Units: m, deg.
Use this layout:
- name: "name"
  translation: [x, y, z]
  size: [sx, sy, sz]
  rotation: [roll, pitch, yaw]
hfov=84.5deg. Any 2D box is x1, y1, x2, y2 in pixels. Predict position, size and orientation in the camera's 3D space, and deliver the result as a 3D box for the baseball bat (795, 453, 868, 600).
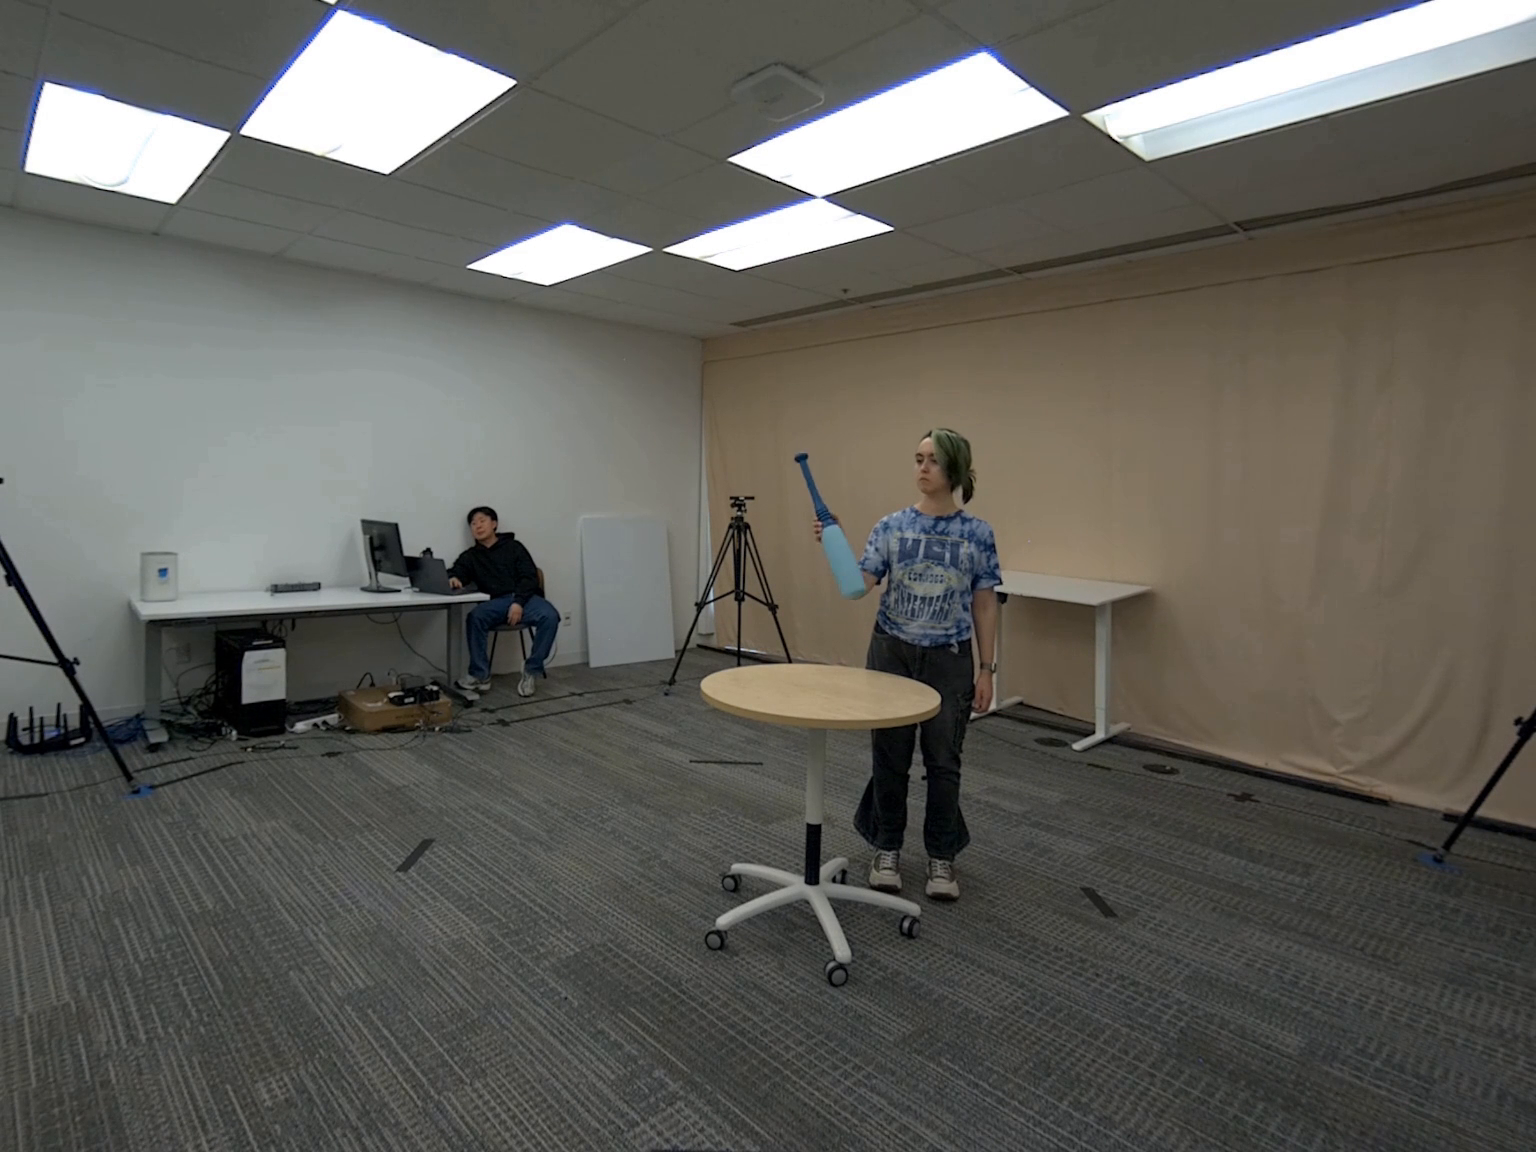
- name: "baseball bat"
  translation: [0.199, -0.180, 2.841]
  size: [0.089, 0.552, 0.088]
  rotation: [-16, -18, -6]
